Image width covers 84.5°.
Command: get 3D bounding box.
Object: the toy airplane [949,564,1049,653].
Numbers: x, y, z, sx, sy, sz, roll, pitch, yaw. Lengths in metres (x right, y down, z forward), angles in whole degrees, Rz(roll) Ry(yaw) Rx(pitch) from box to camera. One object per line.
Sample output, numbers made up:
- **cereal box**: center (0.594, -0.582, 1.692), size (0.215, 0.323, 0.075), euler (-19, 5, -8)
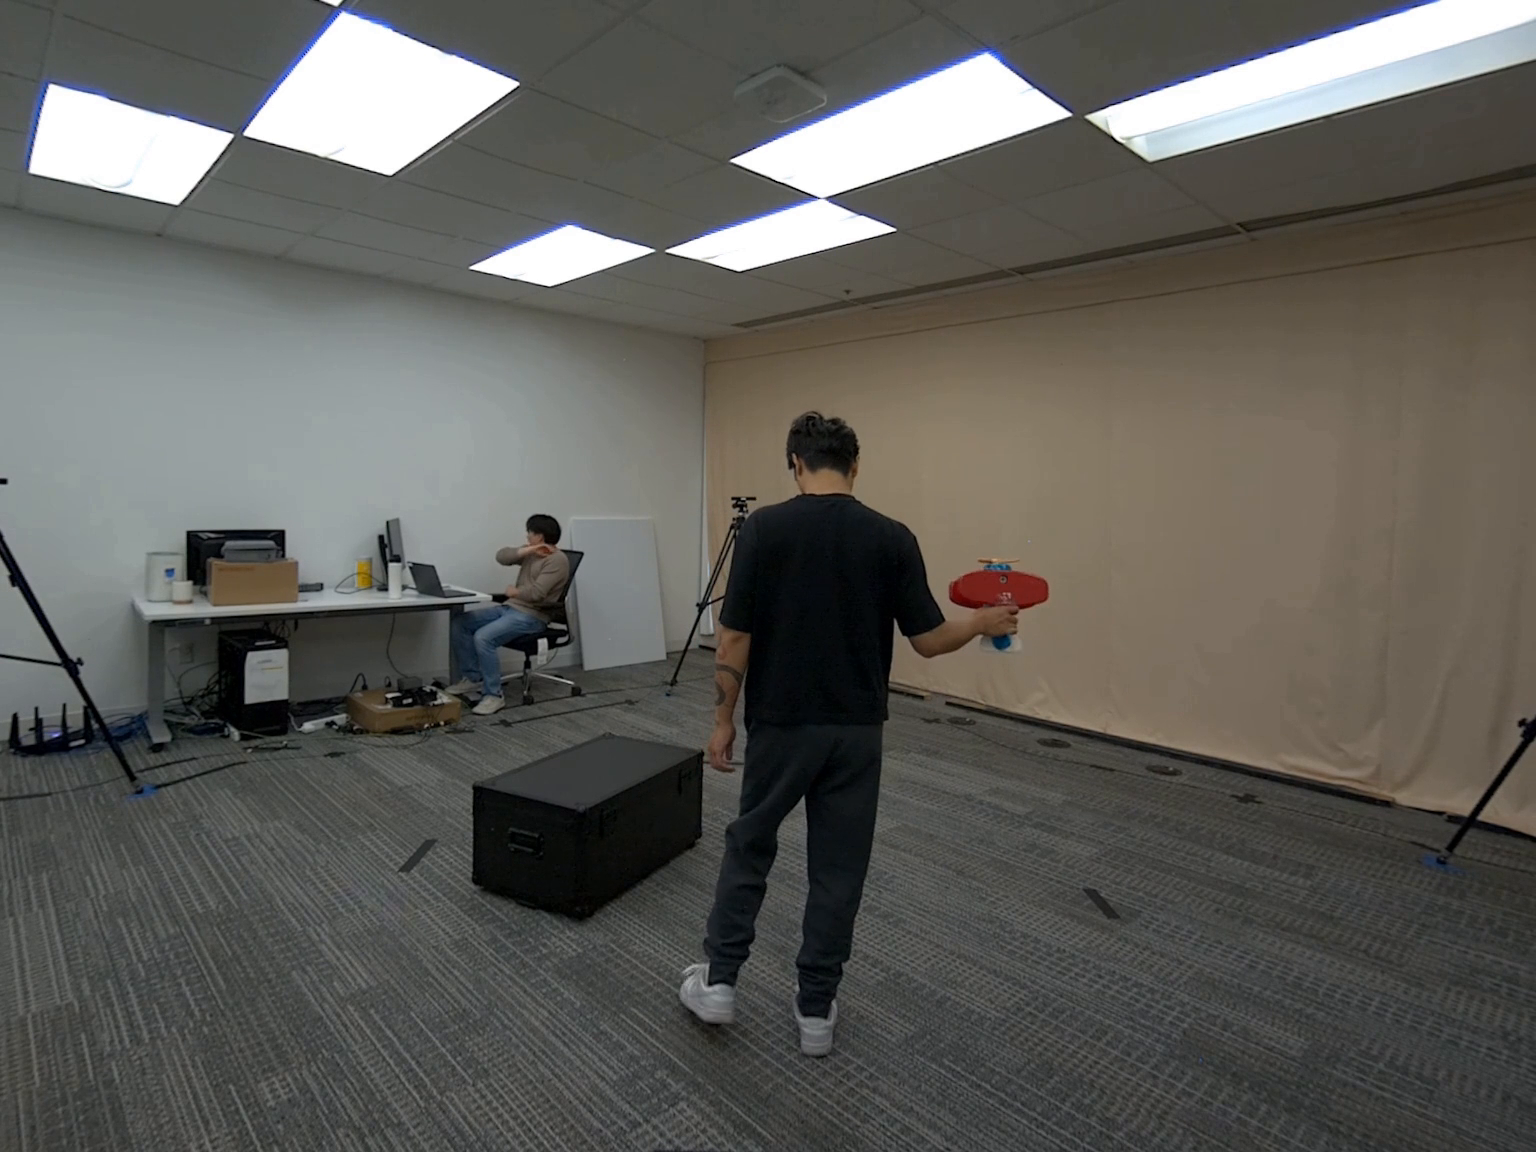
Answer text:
- **toy airplane**: center (0.659, 0.086, 2.375), size (0.249, 0.265, 0.154), euler (-23, -24, -15)
